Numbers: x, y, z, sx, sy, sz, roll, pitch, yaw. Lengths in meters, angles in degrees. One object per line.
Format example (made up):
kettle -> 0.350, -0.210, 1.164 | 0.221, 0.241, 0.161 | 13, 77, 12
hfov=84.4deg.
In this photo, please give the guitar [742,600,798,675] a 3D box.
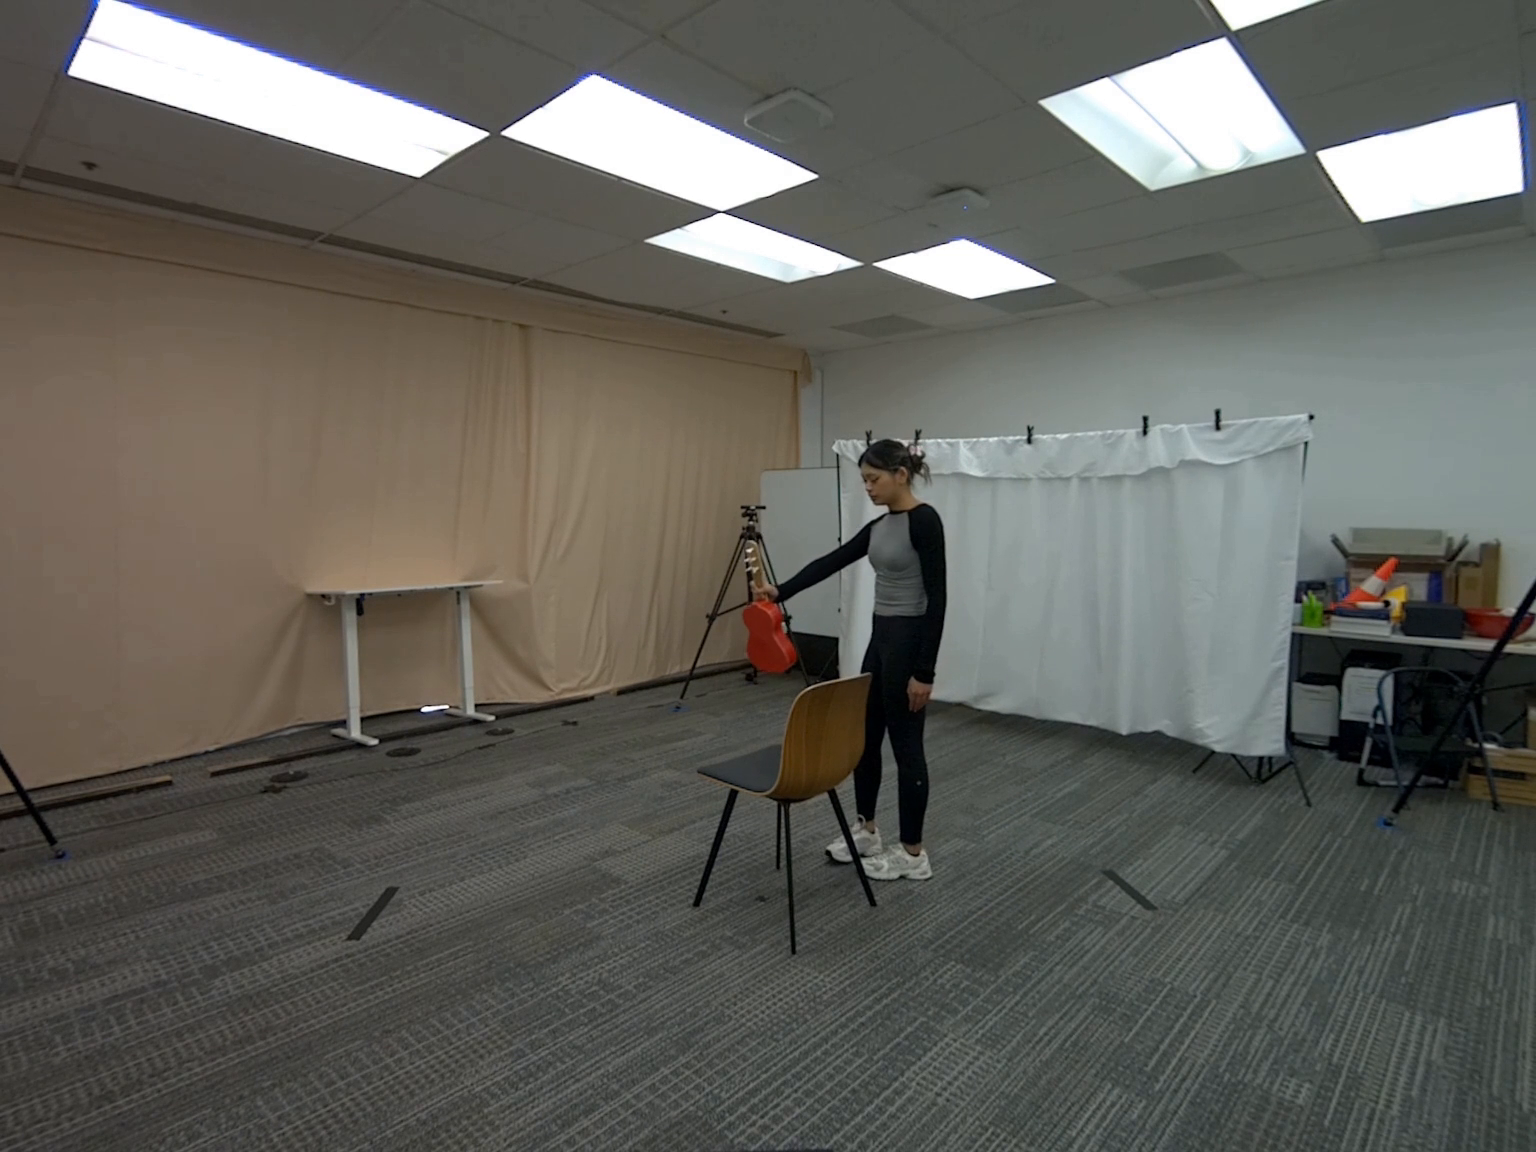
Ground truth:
guitar -> -0.038, 0.123, 3.116 | 0.198, 0.493, 0.069 | -10, 13, 47
